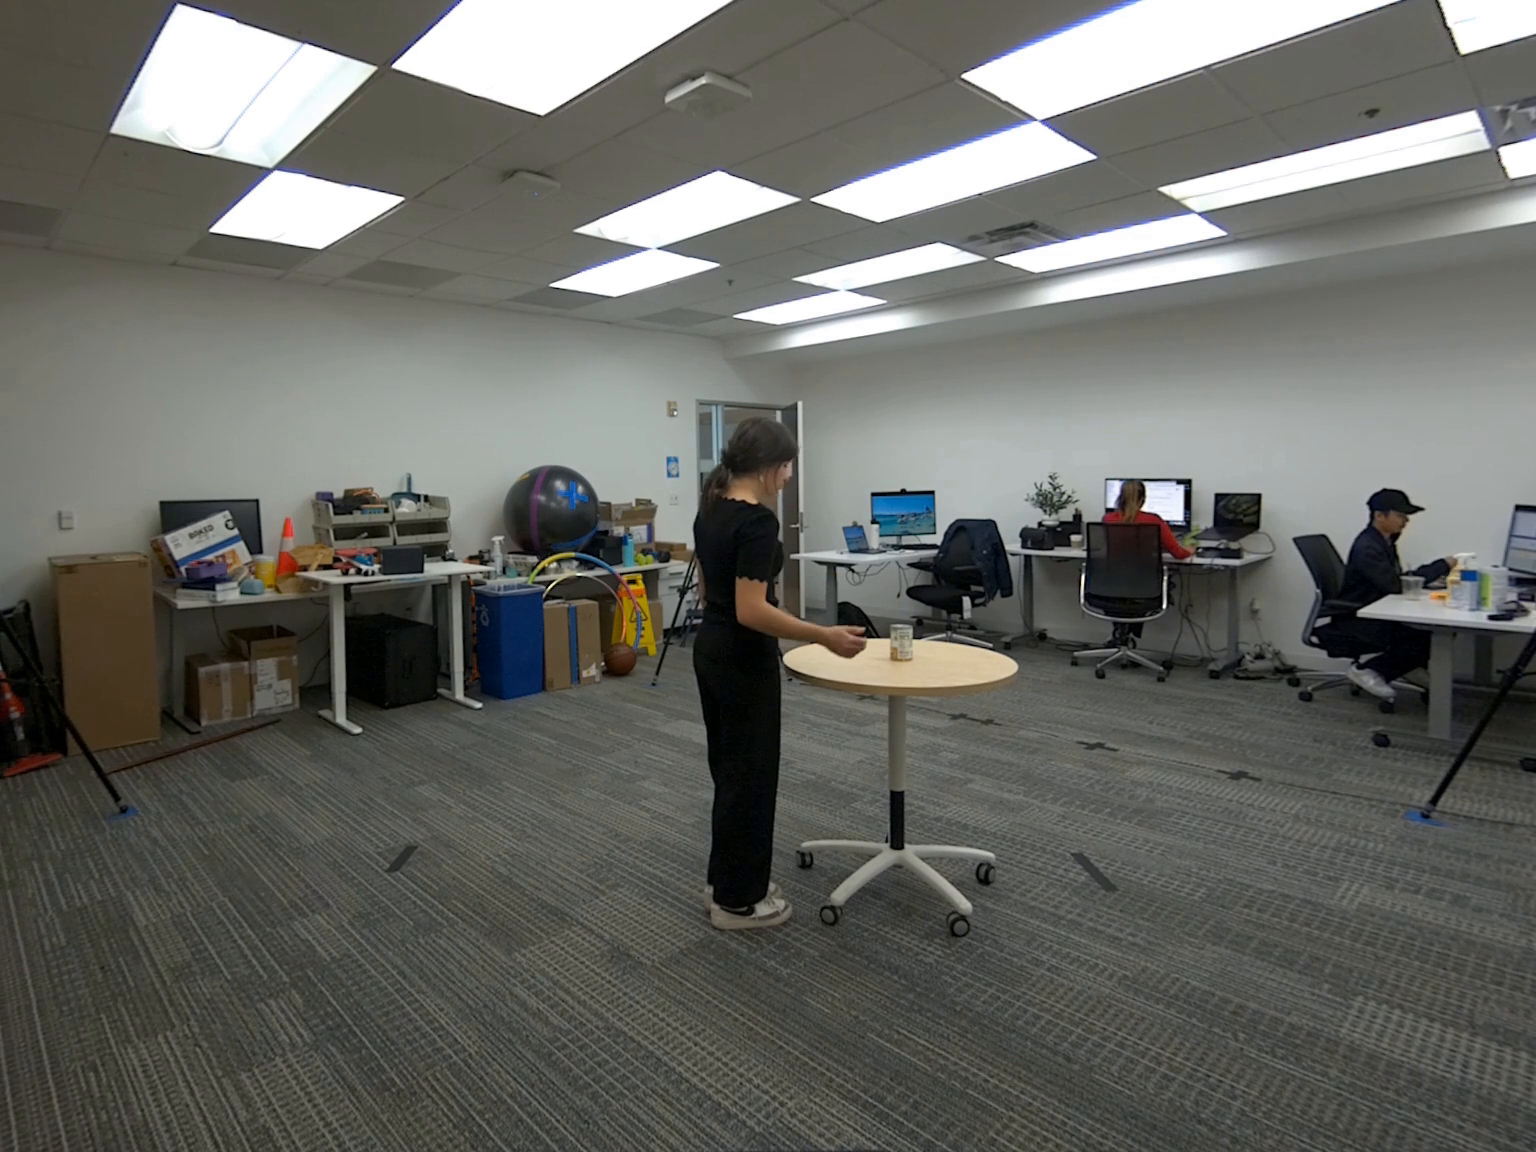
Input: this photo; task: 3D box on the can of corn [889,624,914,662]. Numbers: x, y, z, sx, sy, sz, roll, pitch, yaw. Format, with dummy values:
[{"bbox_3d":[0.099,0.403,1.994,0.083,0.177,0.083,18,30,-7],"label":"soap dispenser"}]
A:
[{"bbox_3d":[0.454,0.226,2.863,0.074,0.110,0.075,0,7,-2],"label":"can of corn"}]
